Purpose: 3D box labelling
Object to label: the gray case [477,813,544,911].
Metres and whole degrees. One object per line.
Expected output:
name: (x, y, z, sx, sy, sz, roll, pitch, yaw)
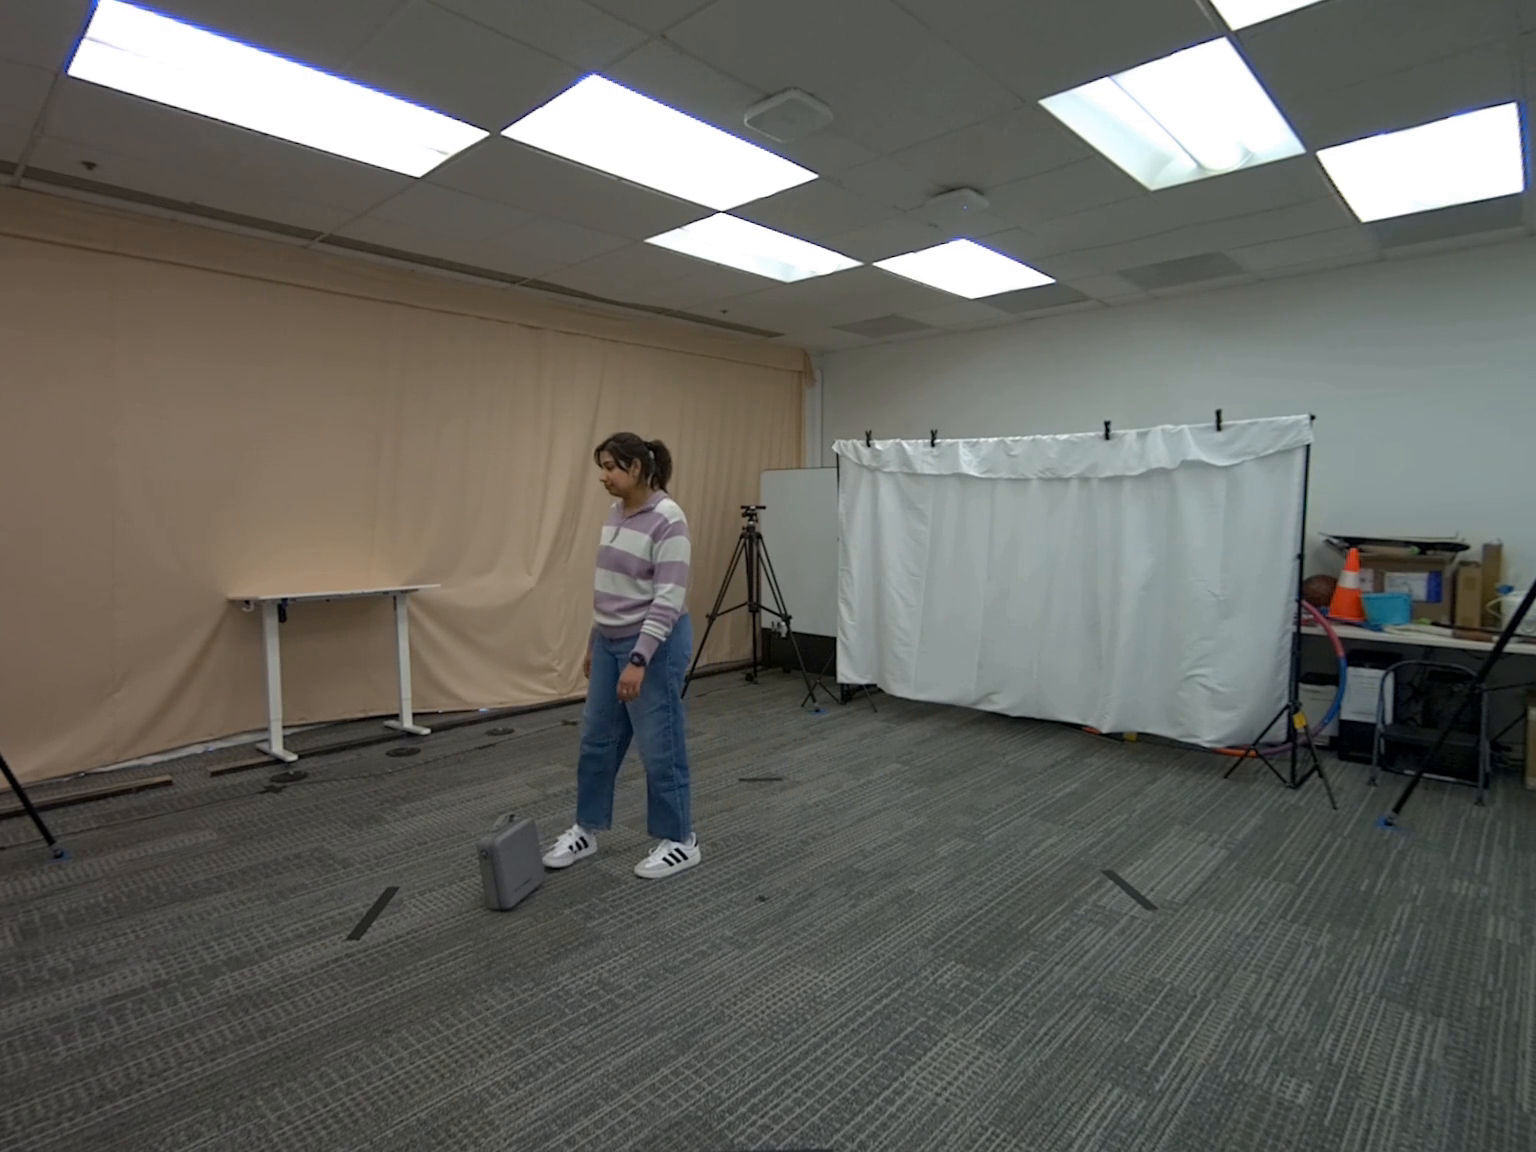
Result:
gray case: (-0.917, 1.012, 3.004, 0.106, 0.261, 0.252, -6, -1, 17)
